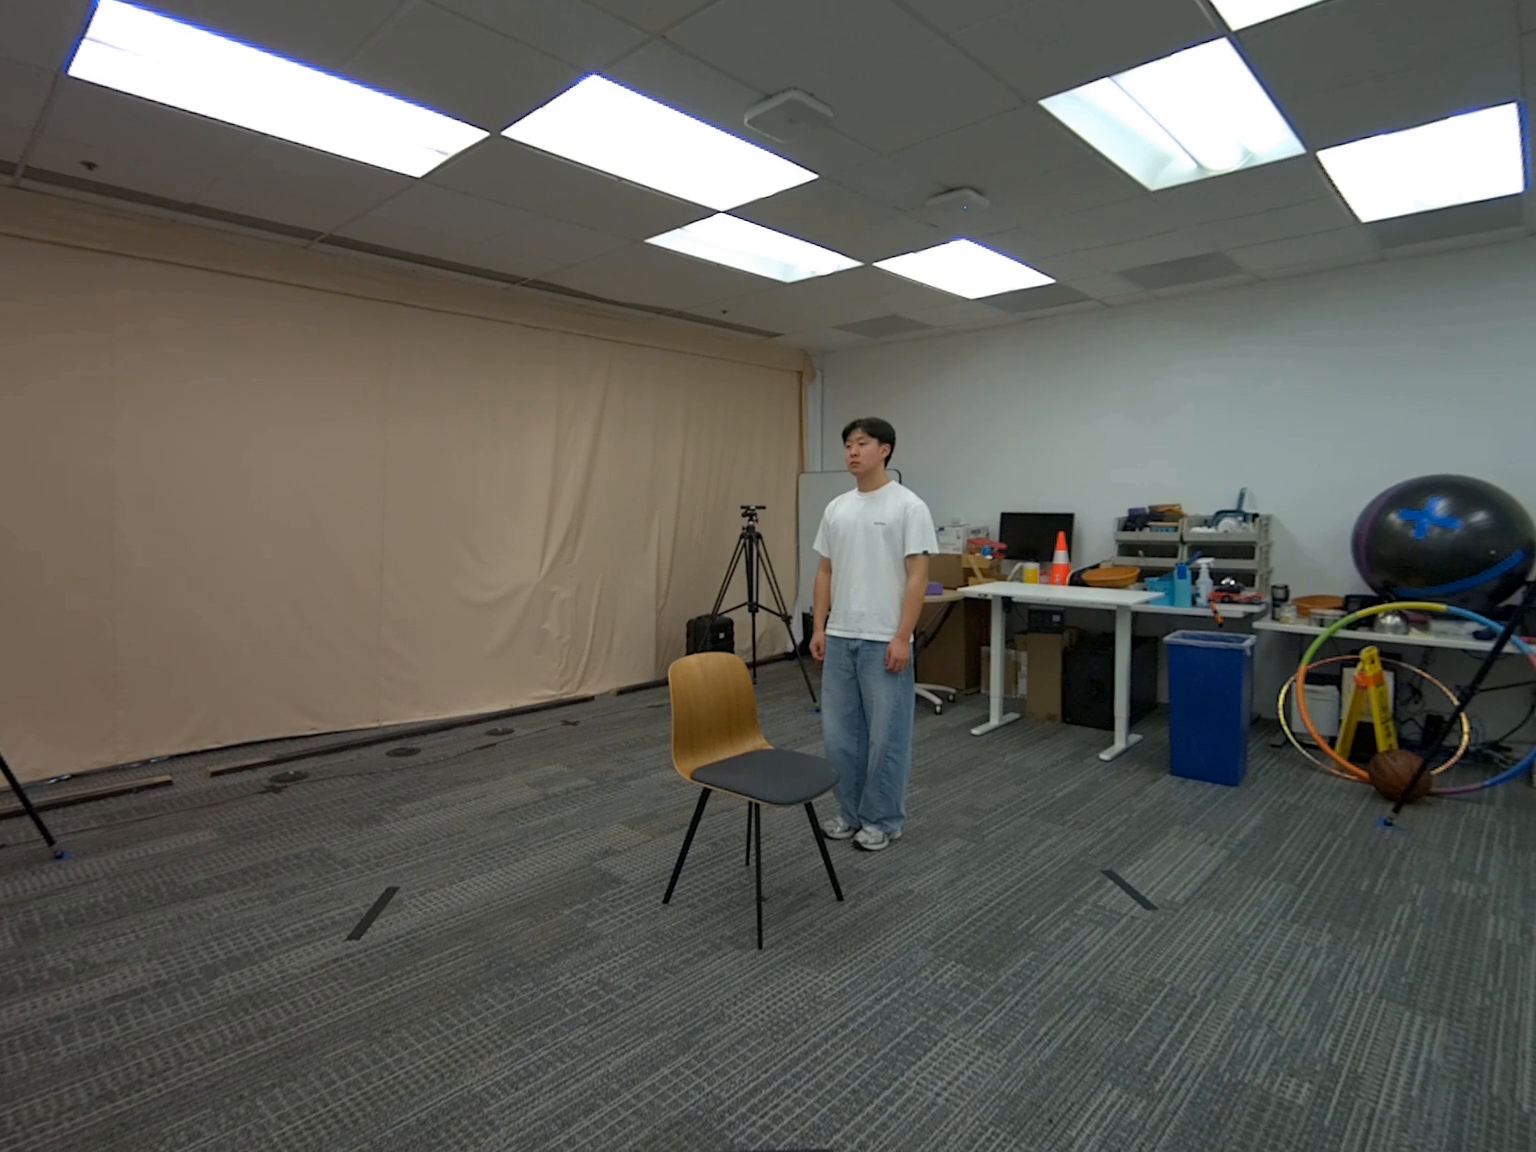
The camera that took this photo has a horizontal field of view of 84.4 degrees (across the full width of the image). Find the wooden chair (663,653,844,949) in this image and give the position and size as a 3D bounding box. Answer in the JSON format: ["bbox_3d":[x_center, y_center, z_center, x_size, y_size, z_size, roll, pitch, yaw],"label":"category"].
[{"bbox_3d":[-0.043,0.723,2.919,0.539,0.877,0.463,-3,1,42],"label":"wooden chair"}]
